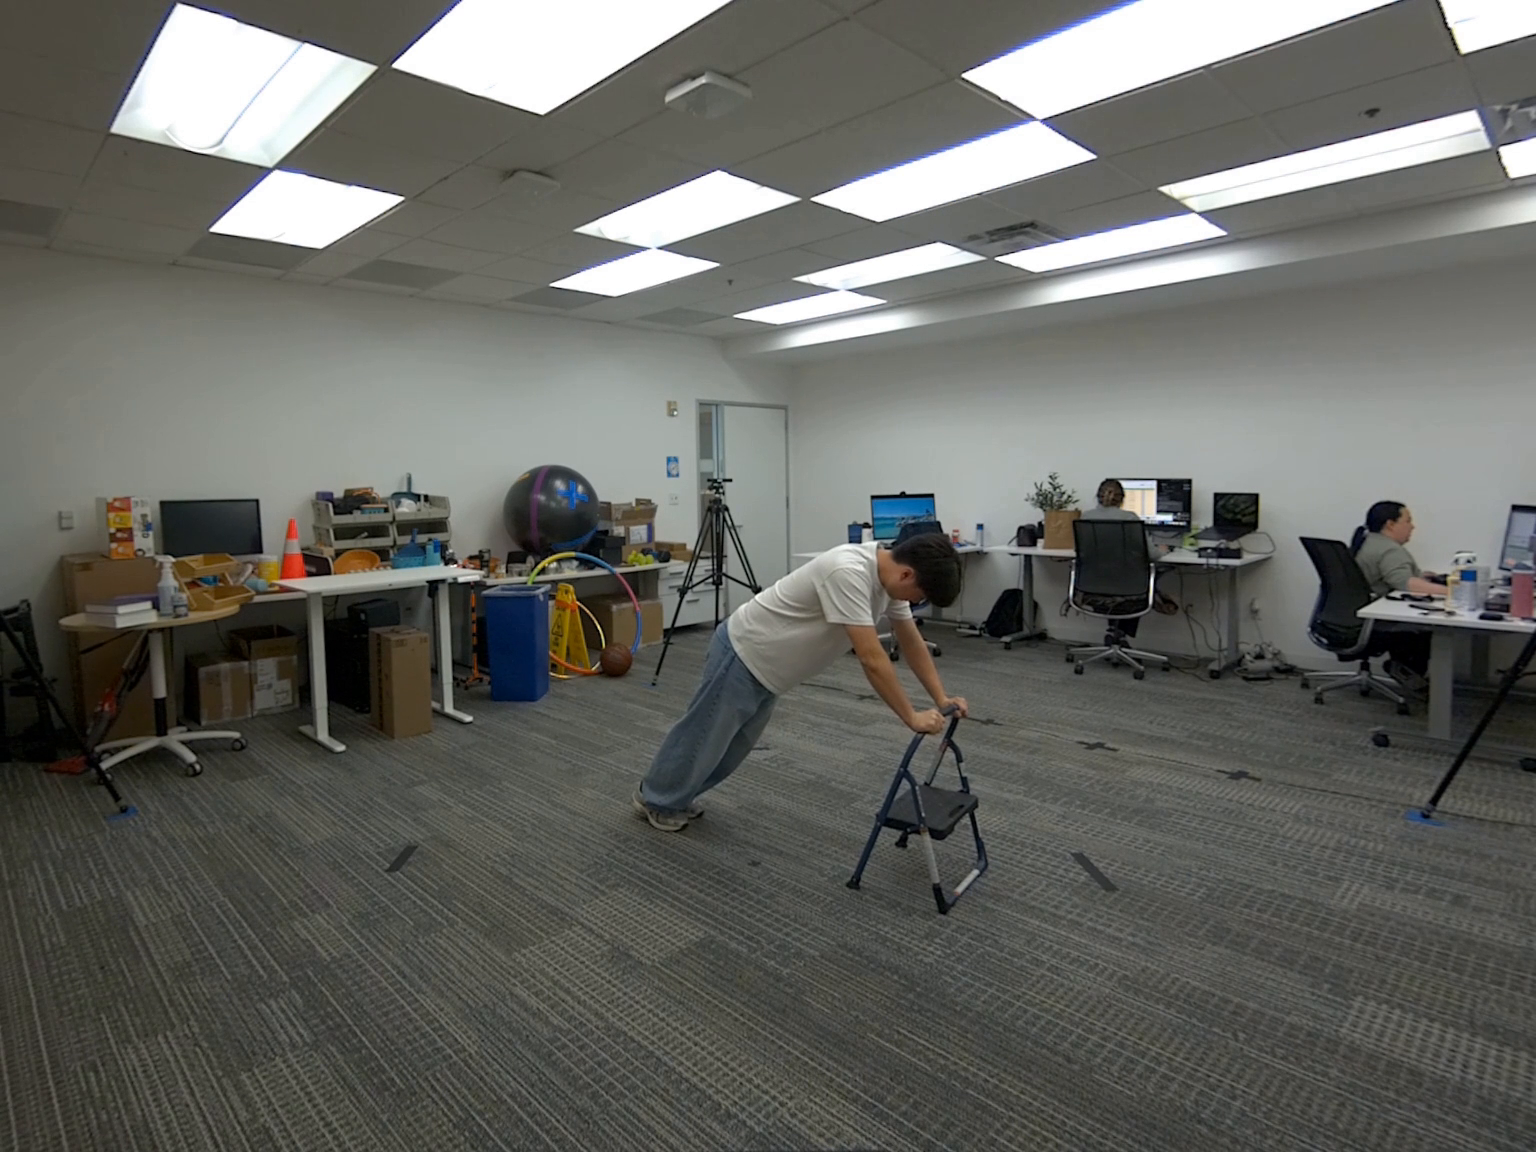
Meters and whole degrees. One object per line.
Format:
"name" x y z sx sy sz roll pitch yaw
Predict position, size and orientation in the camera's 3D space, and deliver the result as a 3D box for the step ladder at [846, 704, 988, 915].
"step ladder" 0.534 0.747 2.956 0.359 0.603 0.420 3 6 33
